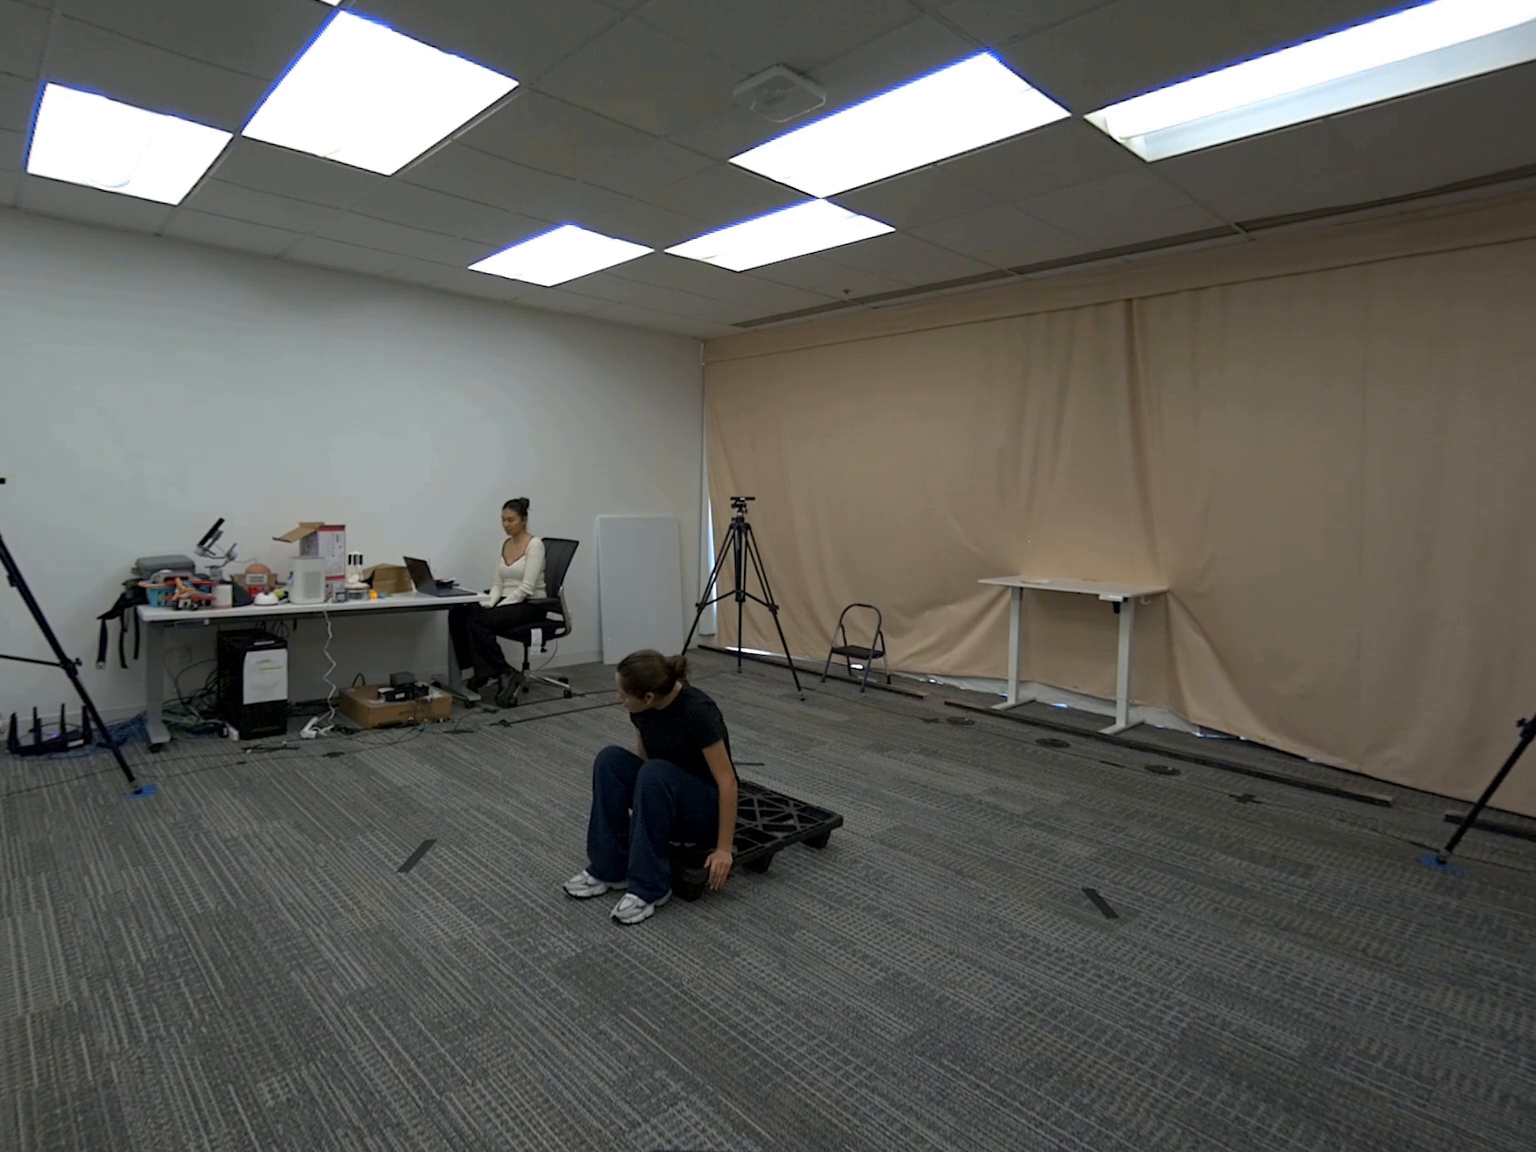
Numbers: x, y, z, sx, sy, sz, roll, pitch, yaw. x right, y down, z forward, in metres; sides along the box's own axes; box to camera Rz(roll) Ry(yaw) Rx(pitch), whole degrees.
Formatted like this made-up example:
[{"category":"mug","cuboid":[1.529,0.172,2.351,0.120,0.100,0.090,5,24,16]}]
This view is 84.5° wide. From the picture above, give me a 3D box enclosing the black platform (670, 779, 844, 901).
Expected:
[{"category":"black platform","cuboid":[-0.189,1.026,3.297,0.787,0.143,0.620,-5,7,-45]}]
